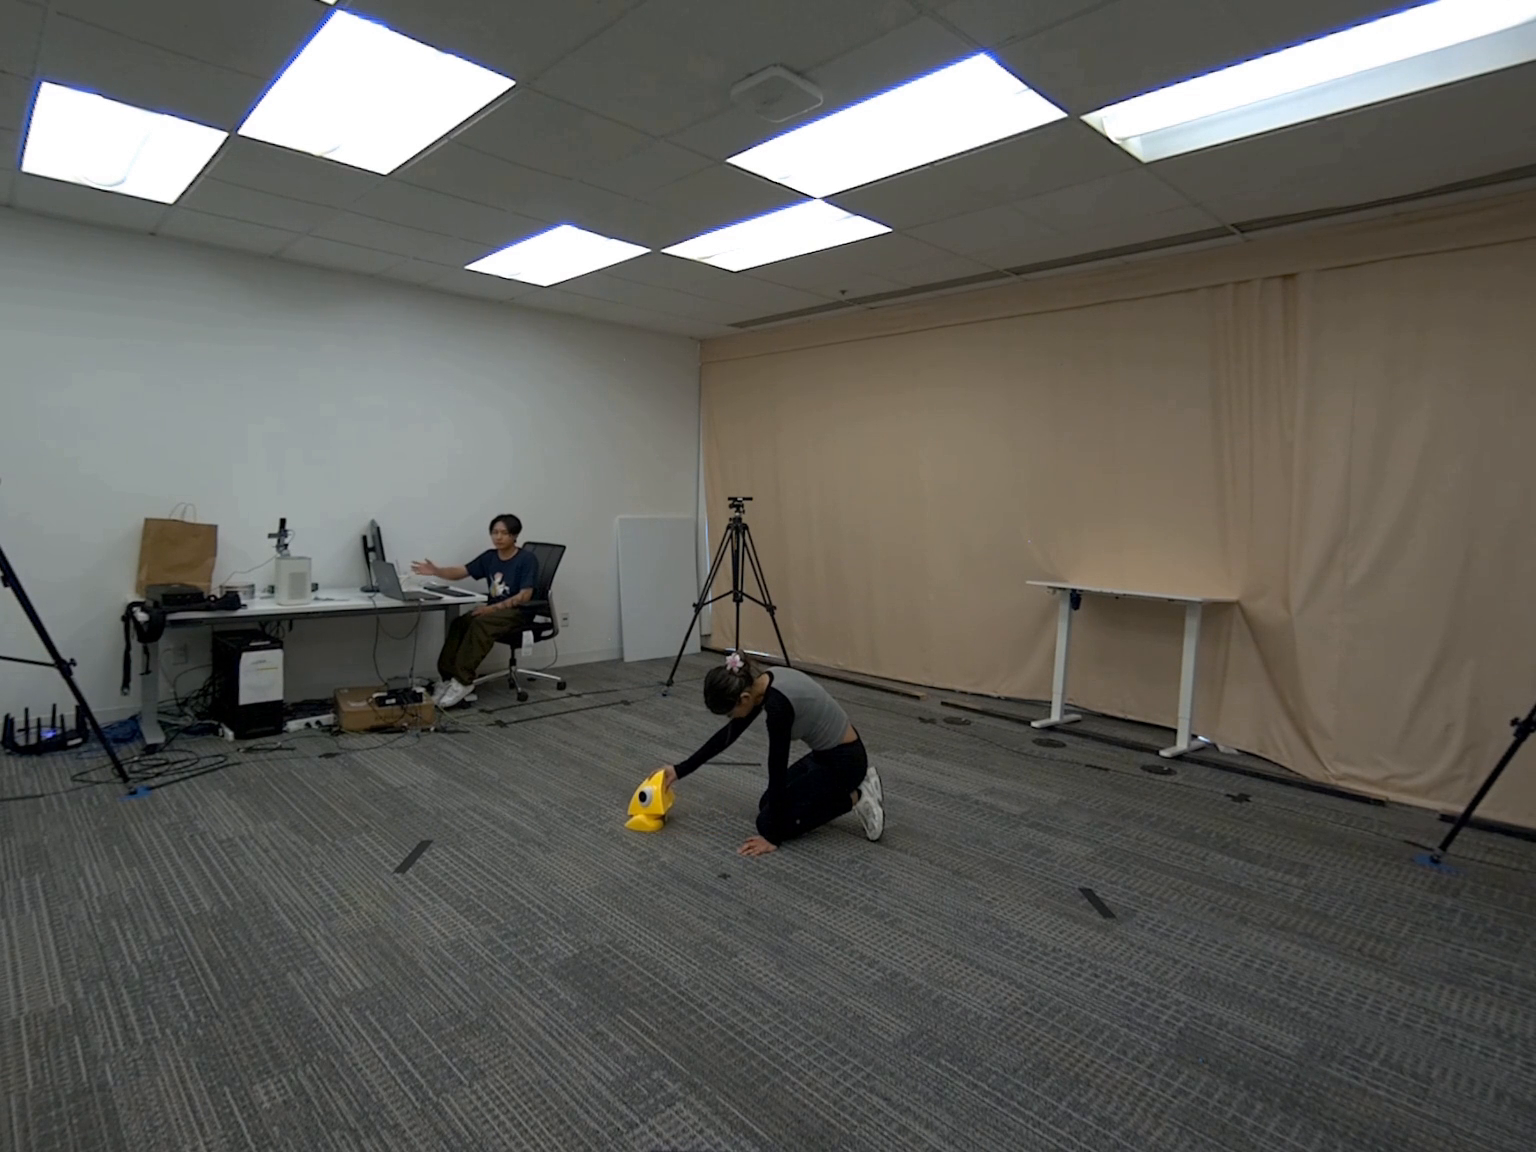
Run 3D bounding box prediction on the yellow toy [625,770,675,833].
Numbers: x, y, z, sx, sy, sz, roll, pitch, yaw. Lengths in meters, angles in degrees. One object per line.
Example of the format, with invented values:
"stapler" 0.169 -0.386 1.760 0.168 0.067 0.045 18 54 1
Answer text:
"yellow toy" -0.509 0.936 3.600 0.194 0.230 0.204 3 5 9
